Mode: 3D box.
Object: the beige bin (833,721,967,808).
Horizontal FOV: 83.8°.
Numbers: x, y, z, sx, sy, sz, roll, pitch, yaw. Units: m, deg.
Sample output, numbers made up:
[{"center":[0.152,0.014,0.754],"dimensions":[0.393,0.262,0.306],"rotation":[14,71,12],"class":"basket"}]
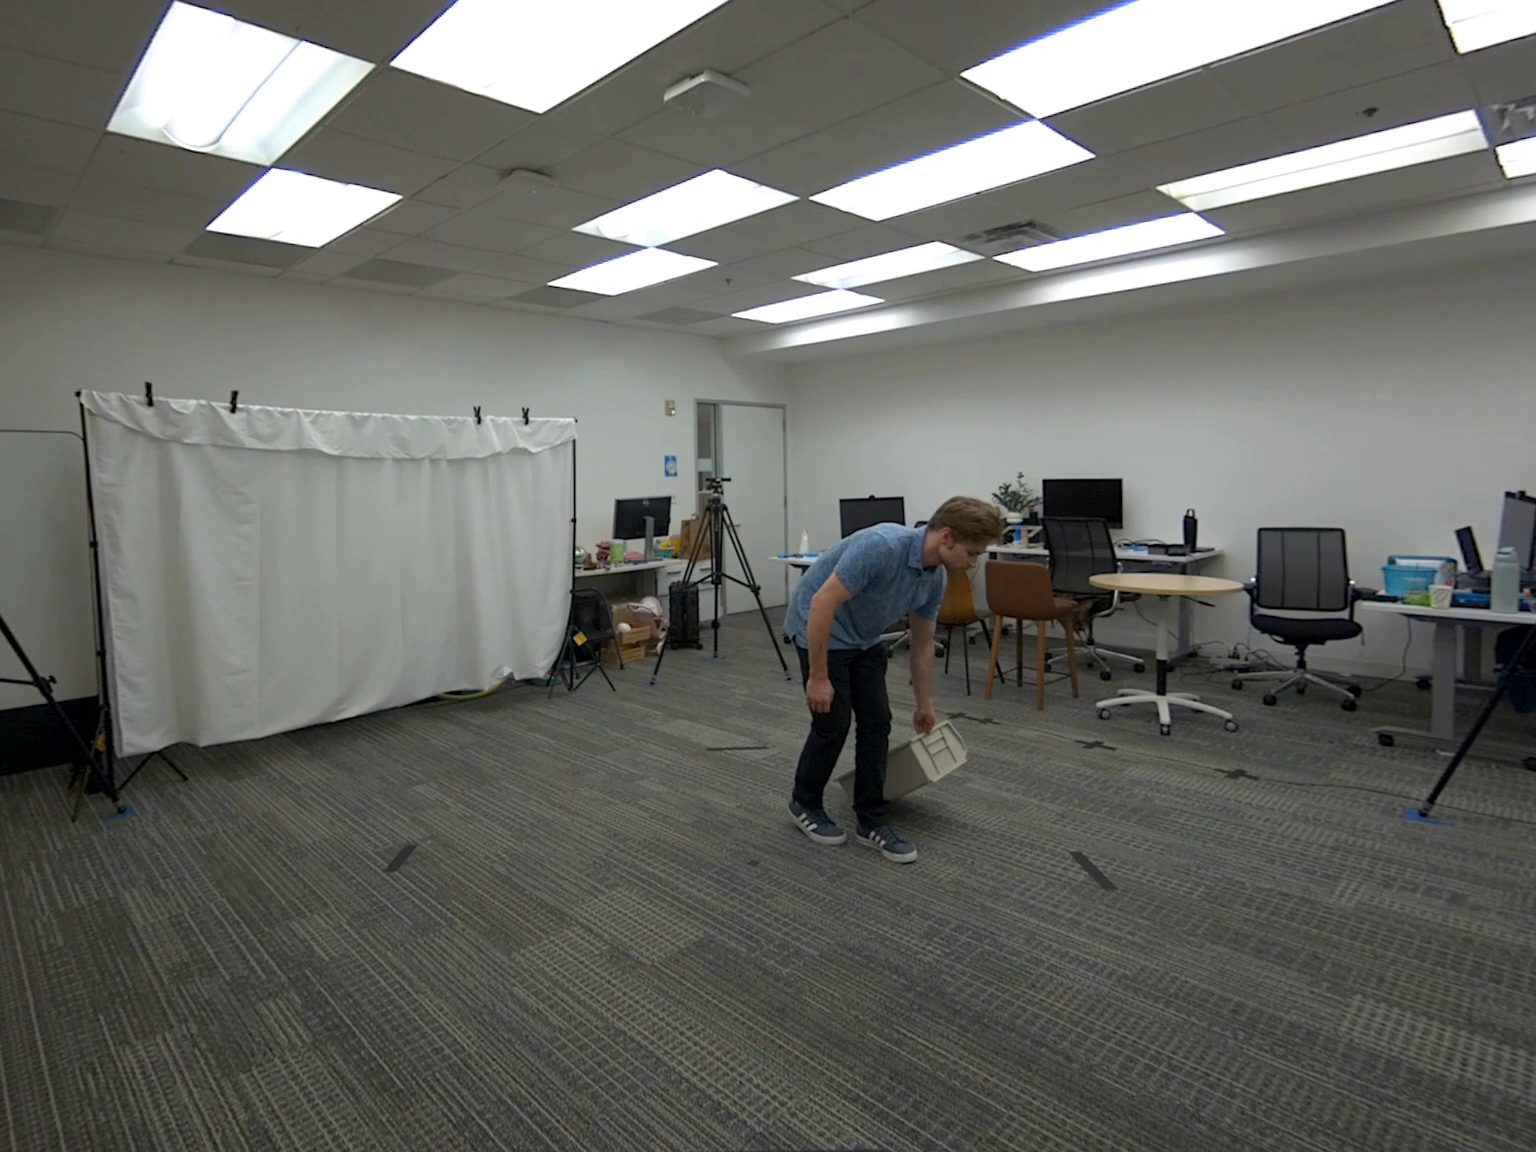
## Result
[{"center":[0.560,0.797,3.531],"dimensions":[0.425,0.192,0.368],"rotation":[-36,-16,34],"class":"beige bin"}]
